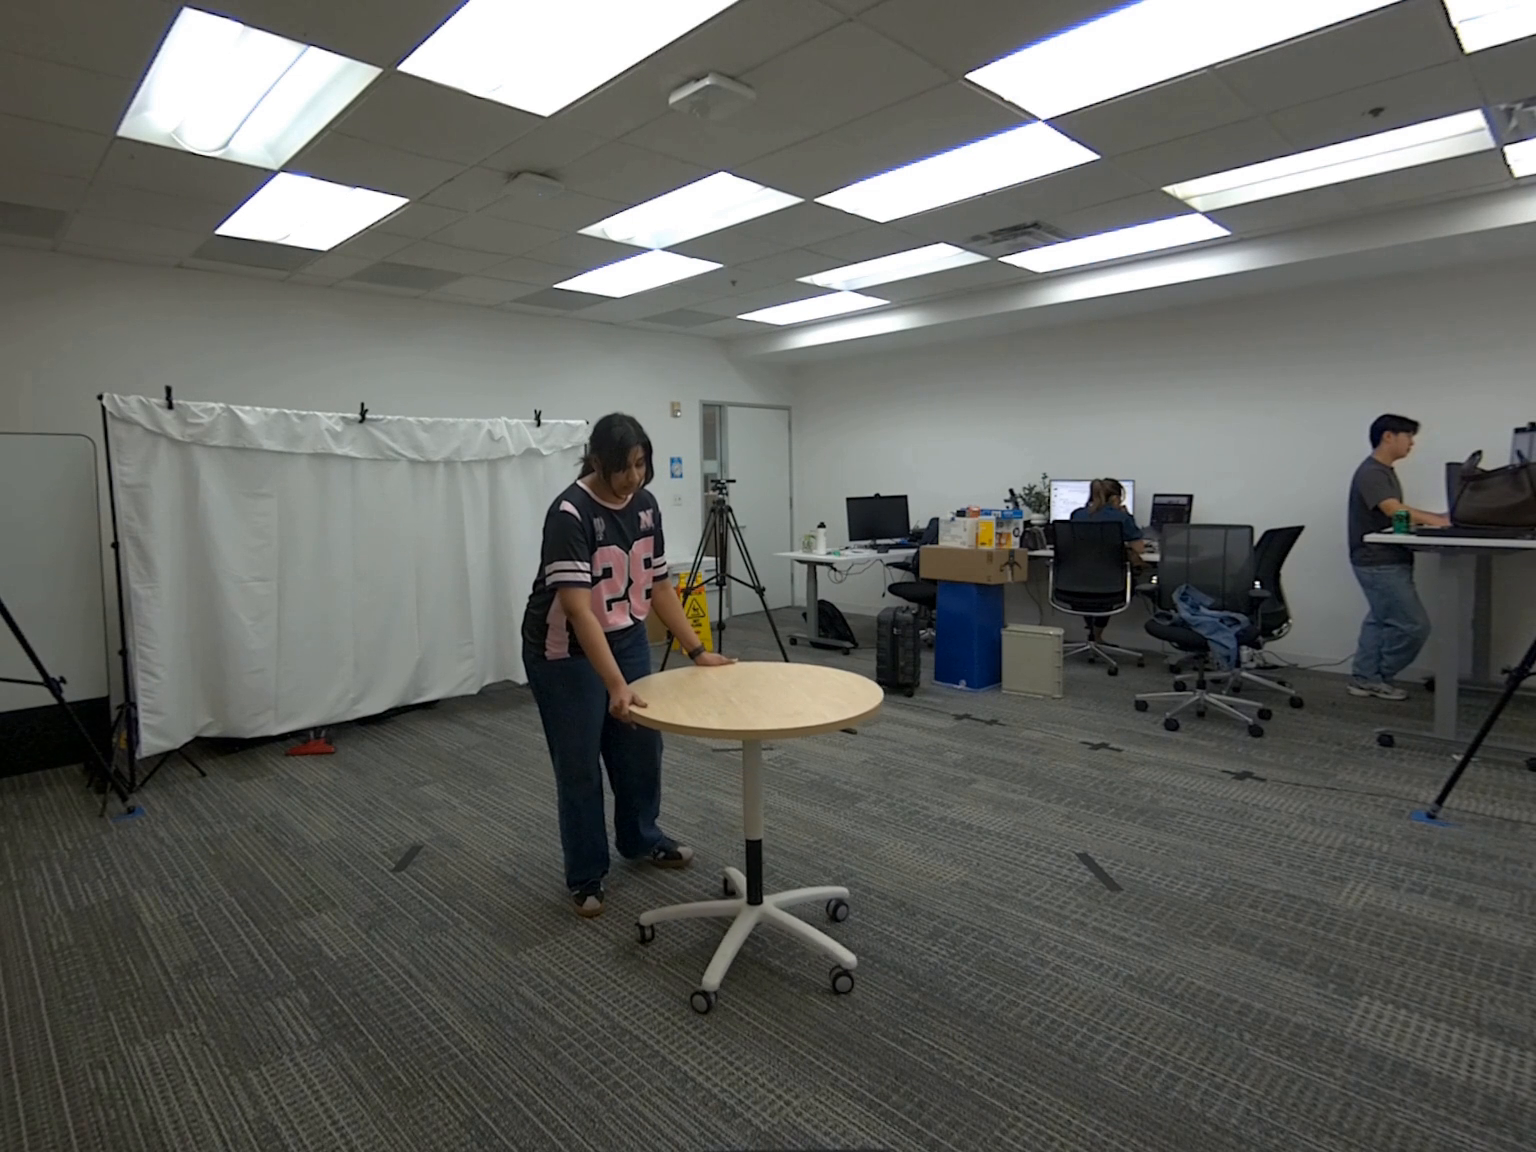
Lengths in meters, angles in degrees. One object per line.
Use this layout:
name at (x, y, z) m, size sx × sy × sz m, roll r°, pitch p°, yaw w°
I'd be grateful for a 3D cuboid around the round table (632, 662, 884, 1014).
round table at (-0.052, 0.720, 2.538) m, size 0.784 × 0.783 × 0.789 m, roll -1°, pitch 5°, yaw -2°
